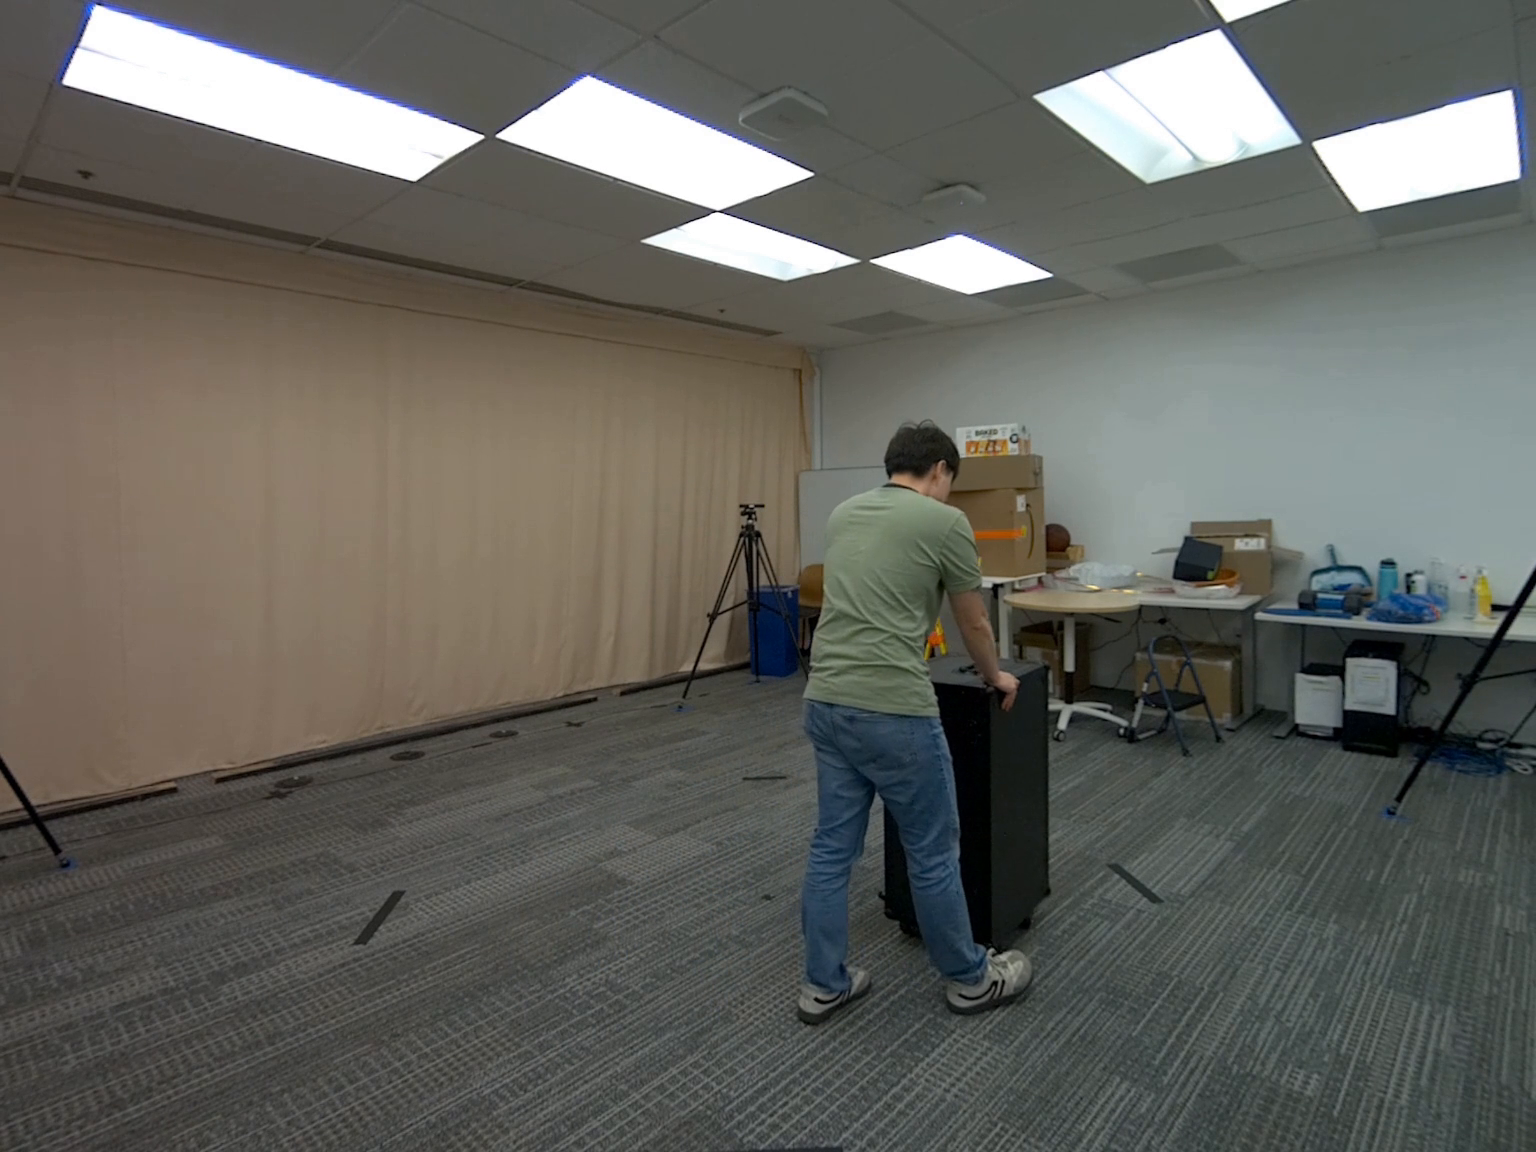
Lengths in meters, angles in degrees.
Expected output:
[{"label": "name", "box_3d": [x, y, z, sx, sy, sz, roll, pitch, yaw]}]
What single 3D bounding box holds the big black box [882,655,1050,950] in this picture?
[{"label": "big black box", "box_3d": [0.649, 0.726, 2.738, 0.409, 0.860, 0.506, 1, 4, 39]}]
